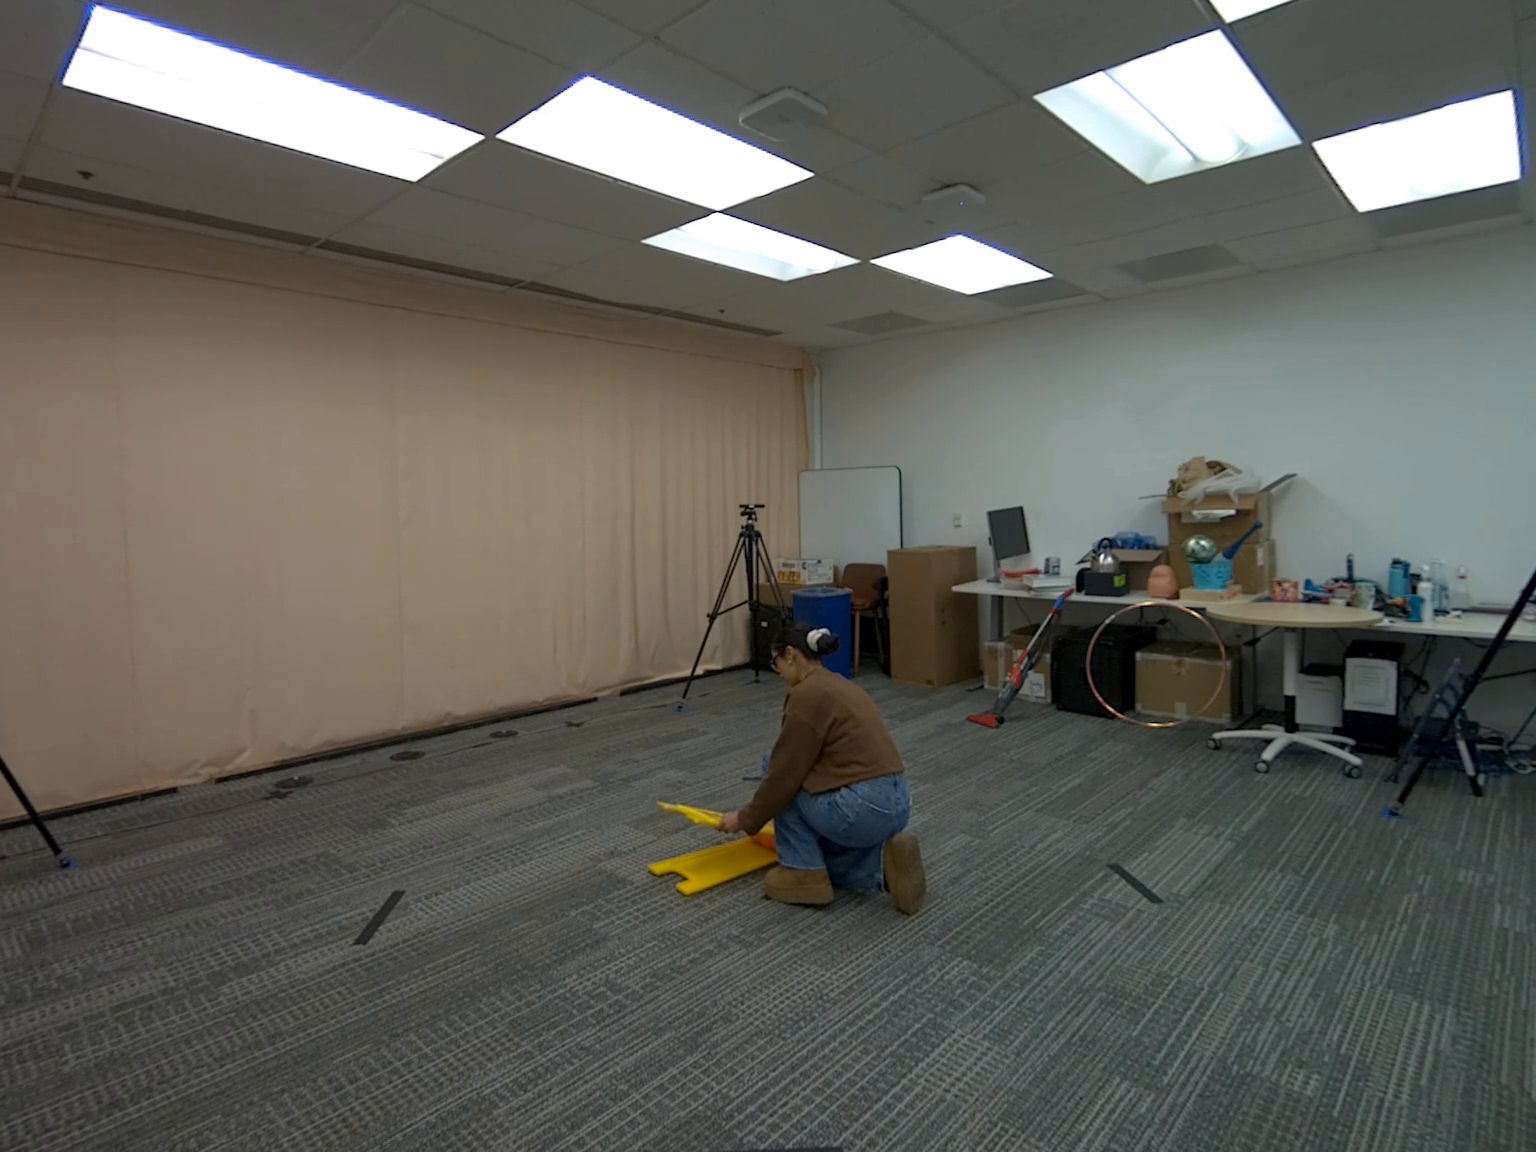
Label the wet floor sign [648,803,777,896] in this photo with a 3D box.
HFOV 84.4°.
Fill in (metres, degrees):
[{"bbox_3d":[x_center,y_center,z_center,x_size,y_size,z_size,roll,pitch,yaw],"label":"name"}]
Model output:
[{"bbox_3d":[-0.113,1.040,3.296,0.625,0.290,0.291,10,-3,-36],"label":"wet floor sign"}]
